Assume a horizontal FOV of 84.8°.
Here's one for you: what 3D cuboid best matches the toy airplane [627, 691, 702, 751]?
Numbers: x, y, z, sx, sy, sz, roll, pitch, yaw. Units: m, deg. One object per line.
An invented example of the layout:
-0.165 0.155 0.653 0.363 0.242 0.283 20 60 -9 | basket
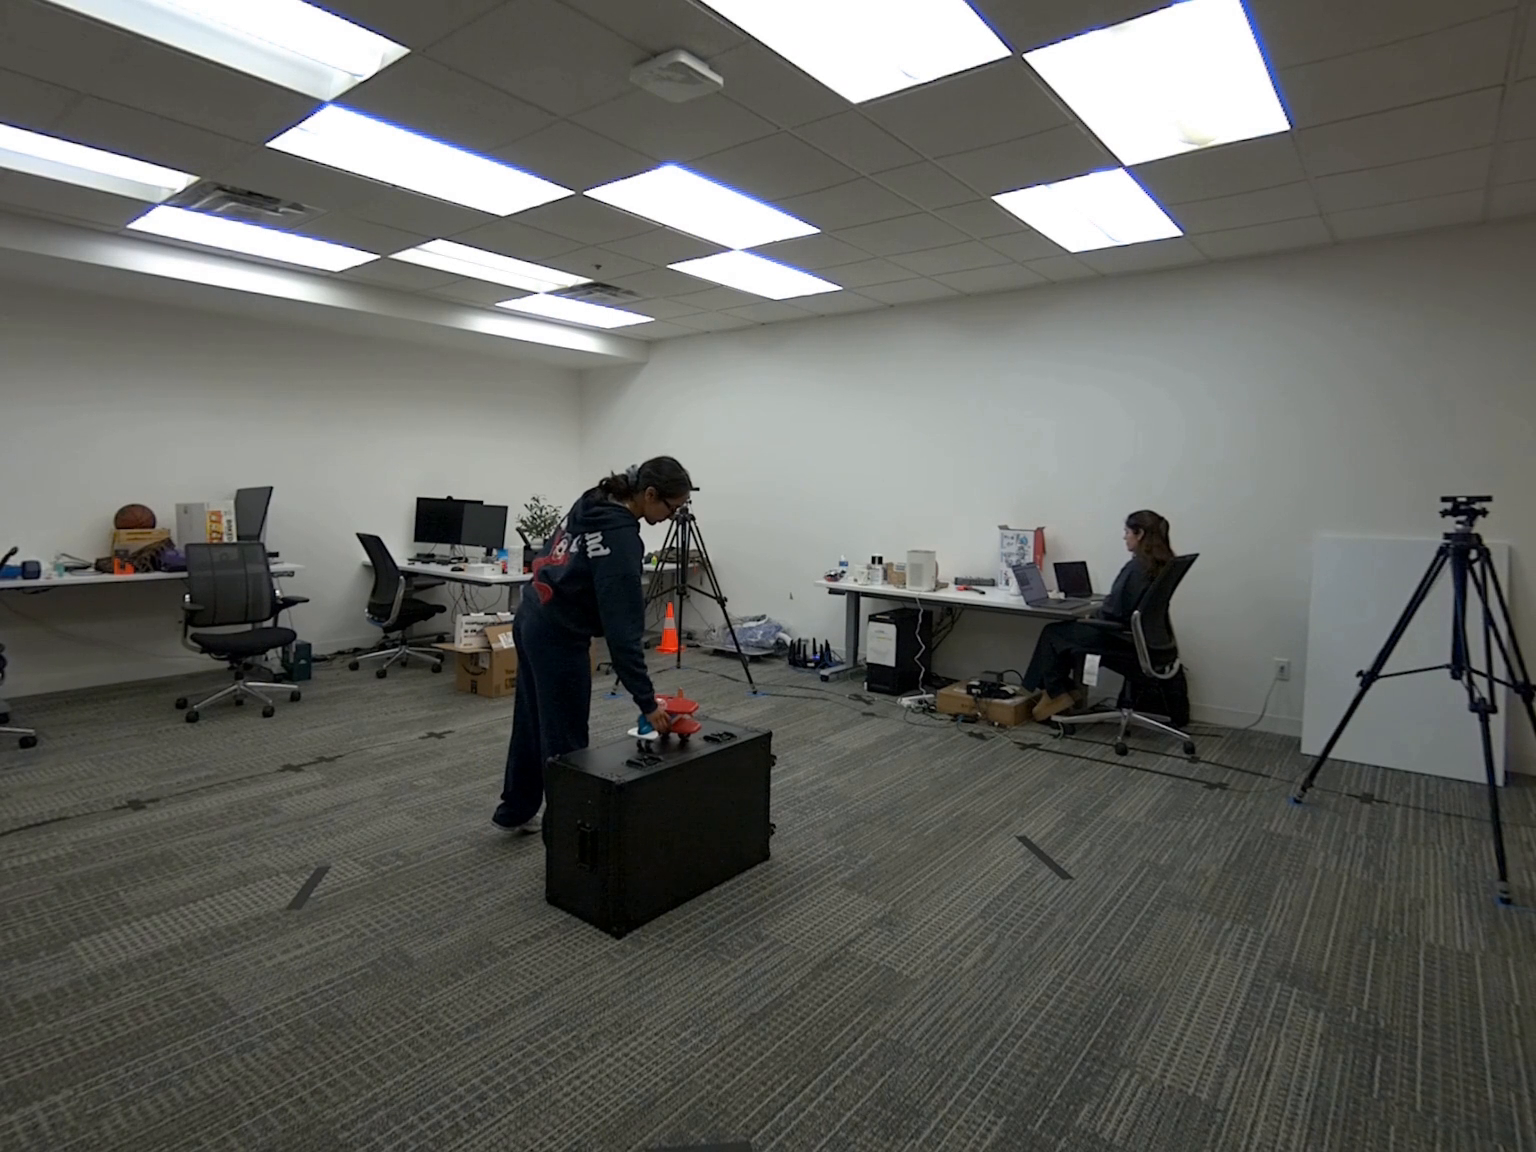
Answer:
-0.363 0.512 3.009 0.252 0.156 0.259 2 3 3 | toy airplane
